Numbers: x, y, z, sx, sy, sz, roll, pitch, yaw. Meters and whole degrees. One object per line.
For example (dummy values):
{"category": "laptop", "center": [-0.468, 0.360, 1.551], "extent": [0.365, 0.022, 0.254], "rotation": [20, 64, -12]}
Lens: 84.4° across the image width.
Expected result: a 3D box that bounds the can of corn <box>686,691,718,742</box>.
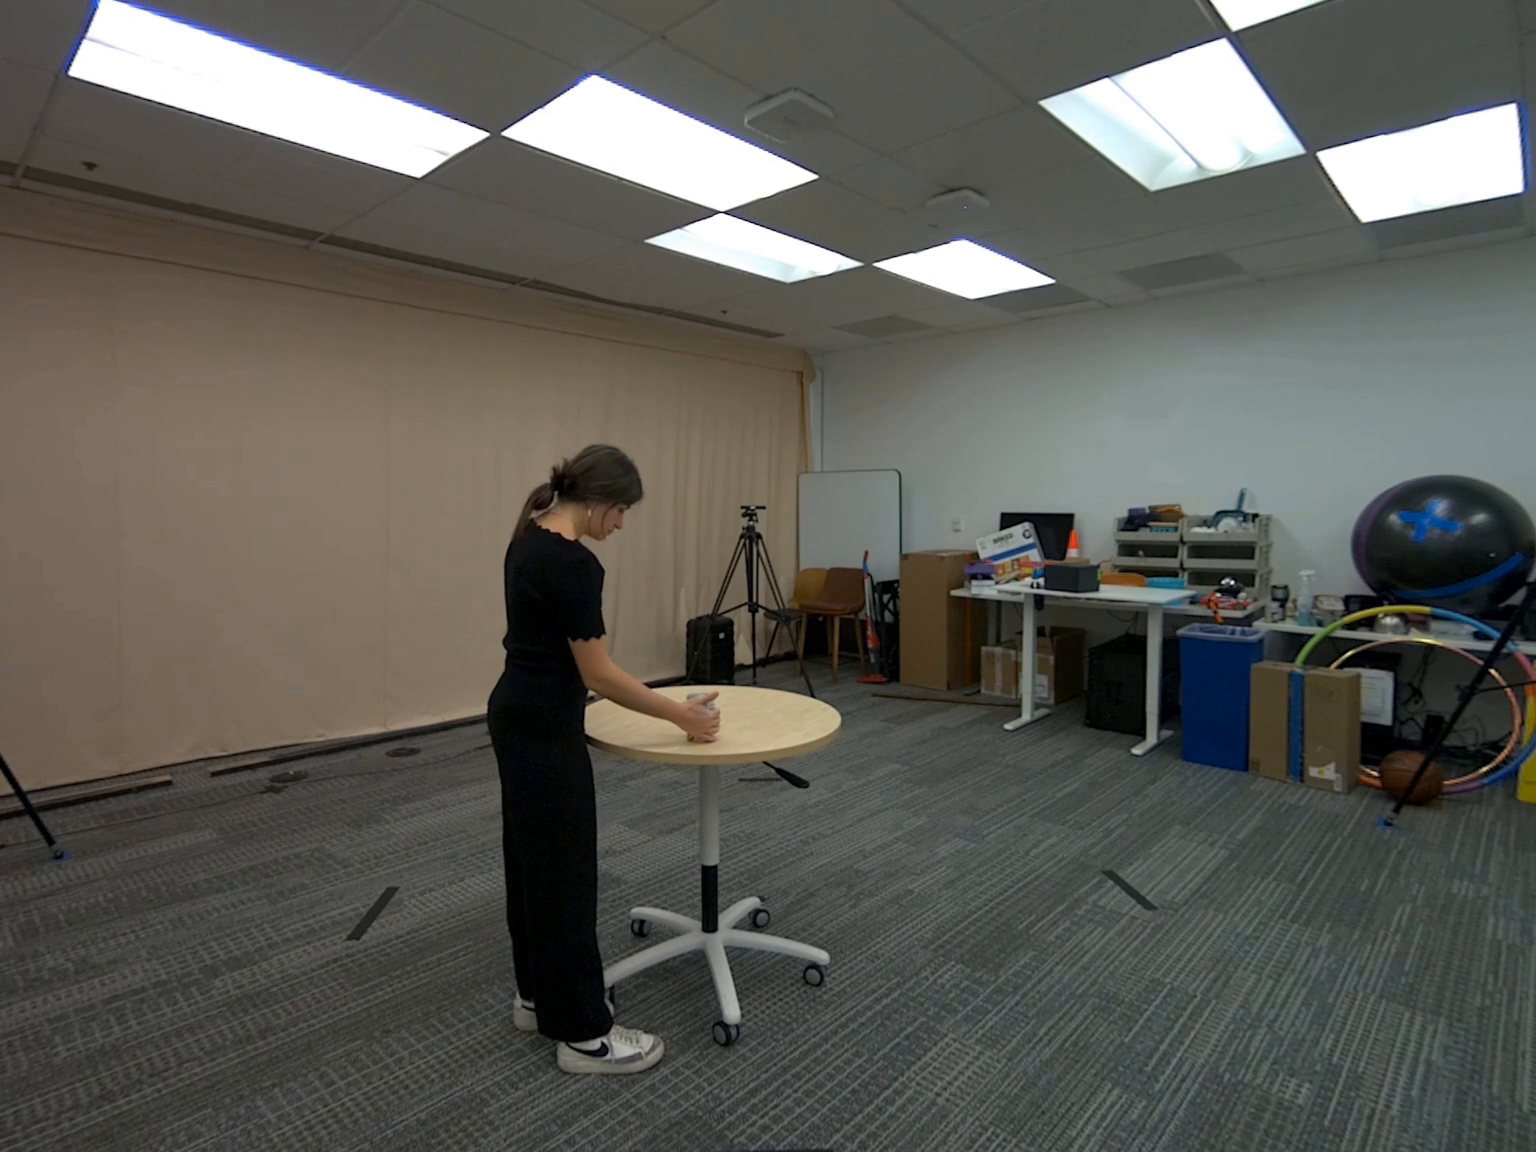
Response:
{"category": "can of corn", "center": [-0.173, 0.377, 2.186], "extent": [0.074, 0.111, 0.074], "rotation": [2, 4, -2]}
